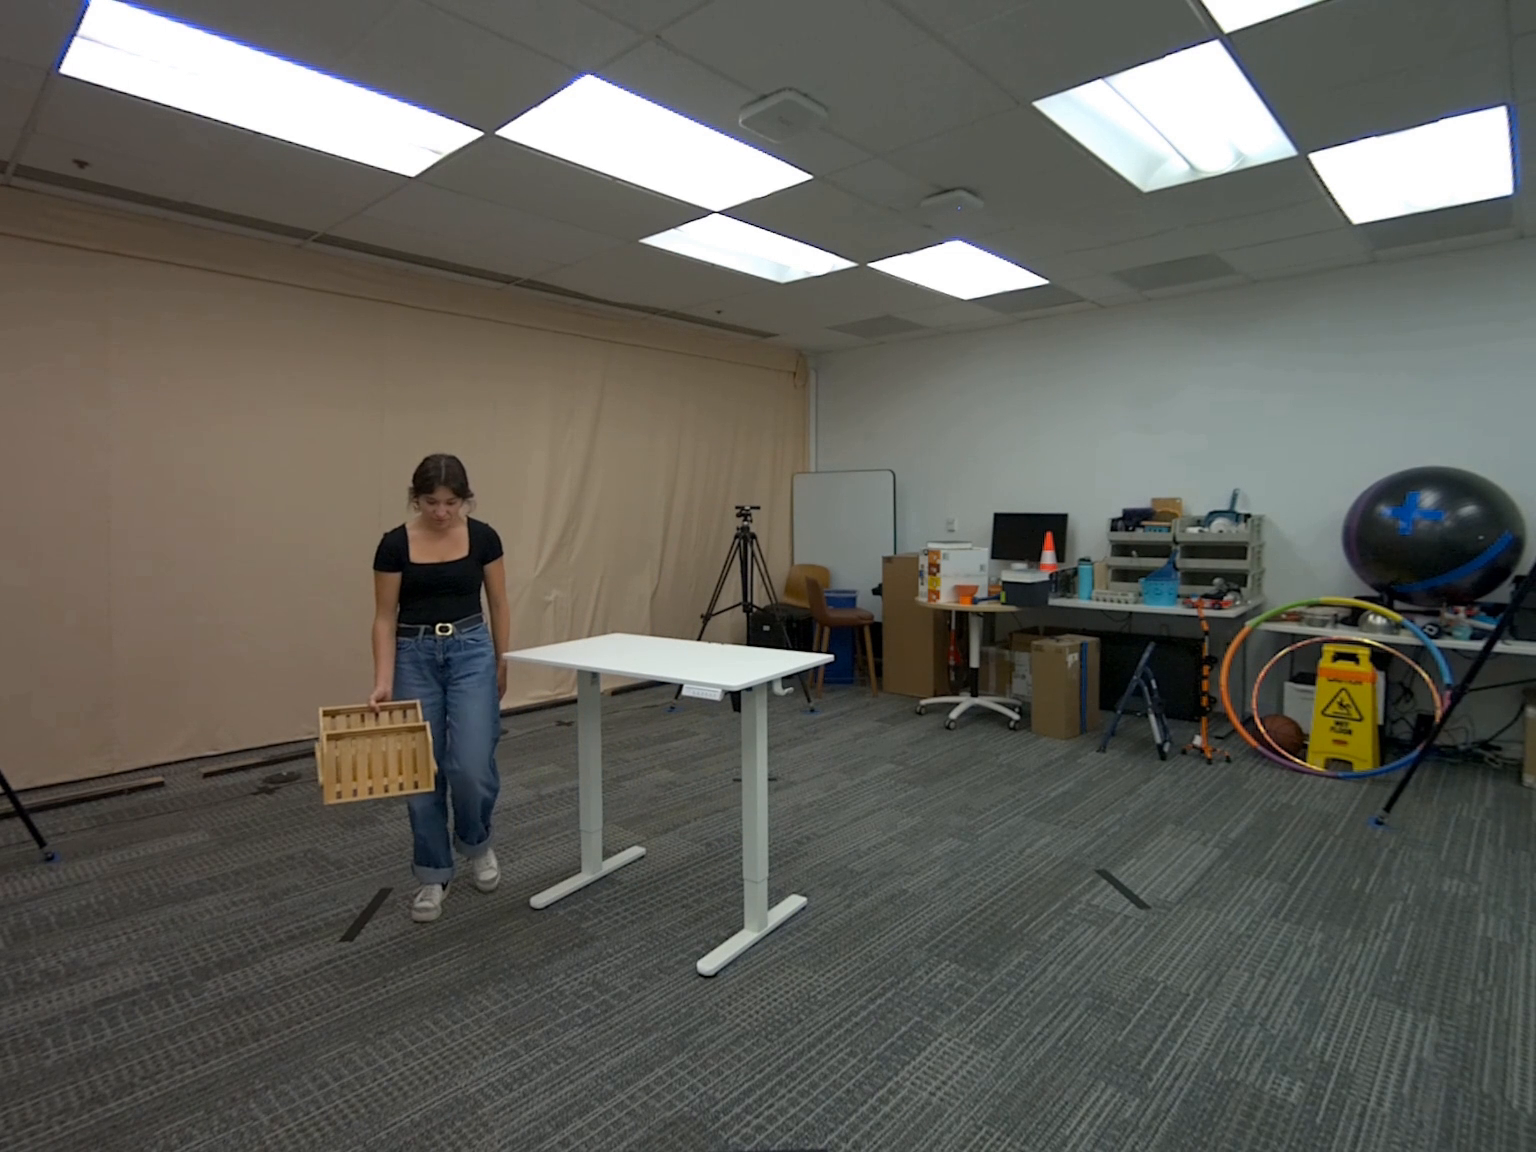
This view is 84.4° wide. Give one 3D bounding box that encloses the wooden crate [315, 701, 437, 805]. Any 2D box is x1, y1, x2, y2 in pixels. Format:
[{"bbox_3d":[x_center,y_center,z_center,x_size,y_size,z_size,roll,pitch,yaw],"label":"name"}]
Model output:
[{"bbox_3d":[-1.206,0.531,2.597,0.316,0.305,0.277,0,-16,-29],"label":"wooden crate"}]
